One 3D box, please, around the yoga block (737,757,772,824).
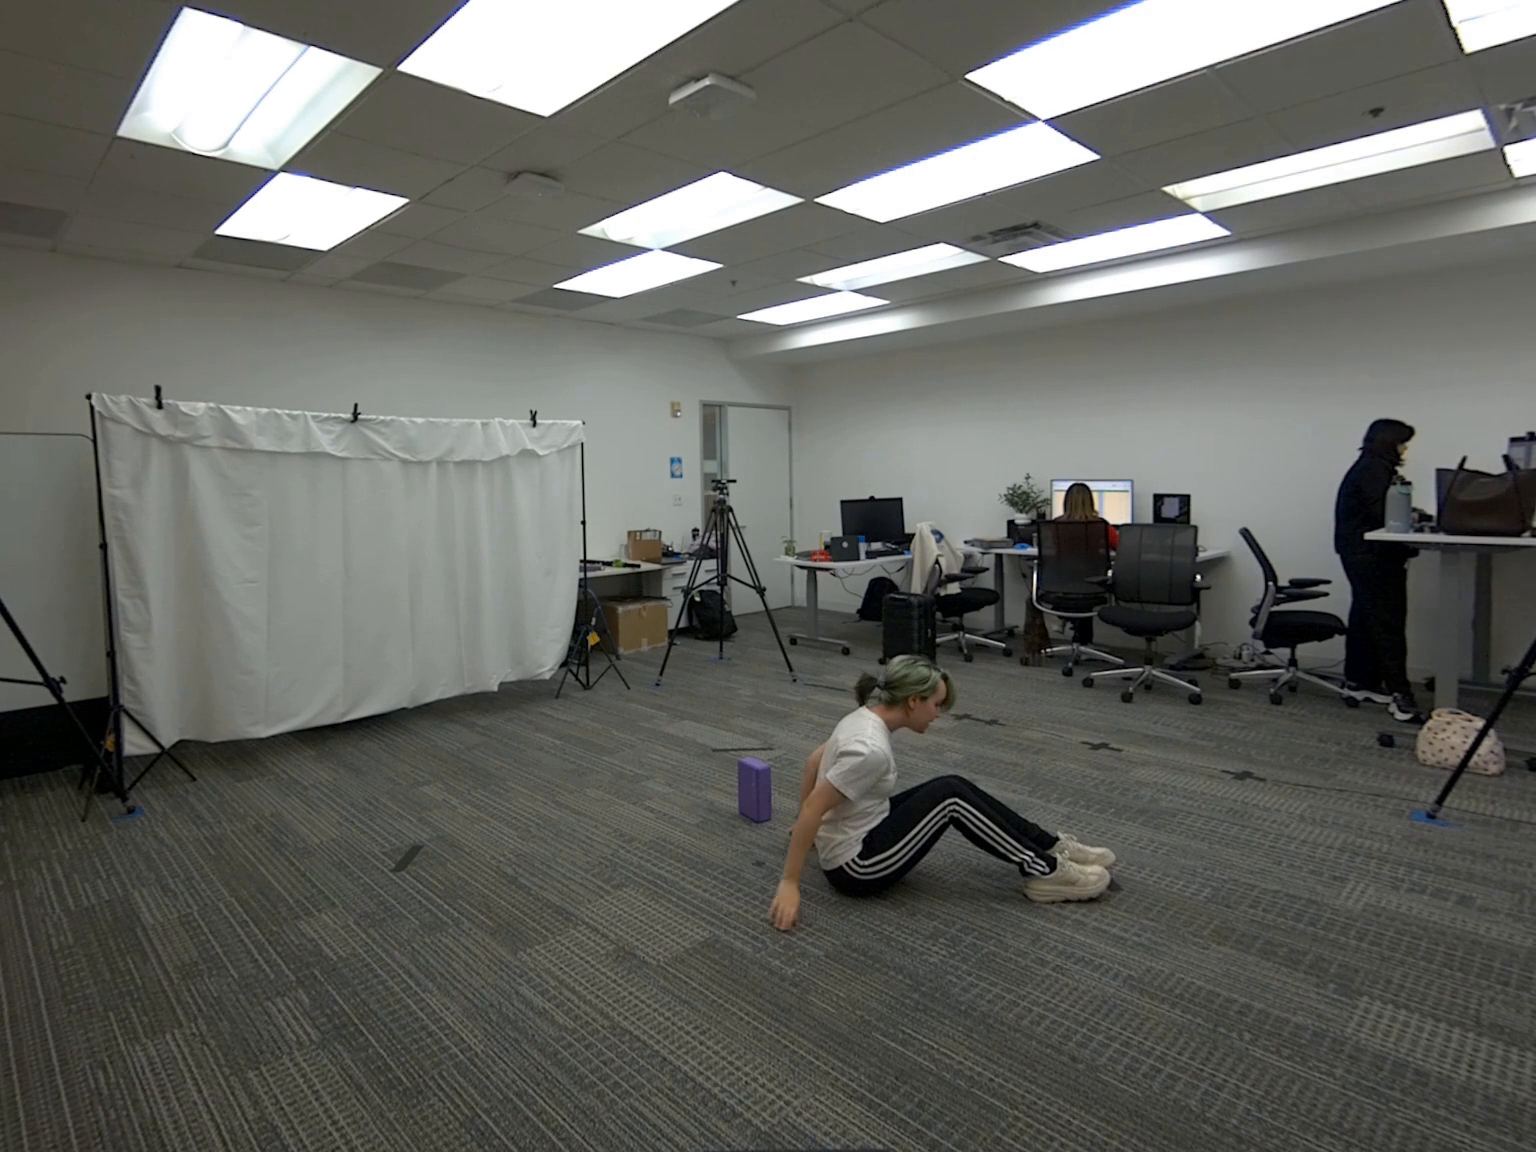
[{"bbox_3d":[-0.056,0.880,3.542,0.074,0.228,0.153,-5,5,-36],"label":"yoga block"}]
